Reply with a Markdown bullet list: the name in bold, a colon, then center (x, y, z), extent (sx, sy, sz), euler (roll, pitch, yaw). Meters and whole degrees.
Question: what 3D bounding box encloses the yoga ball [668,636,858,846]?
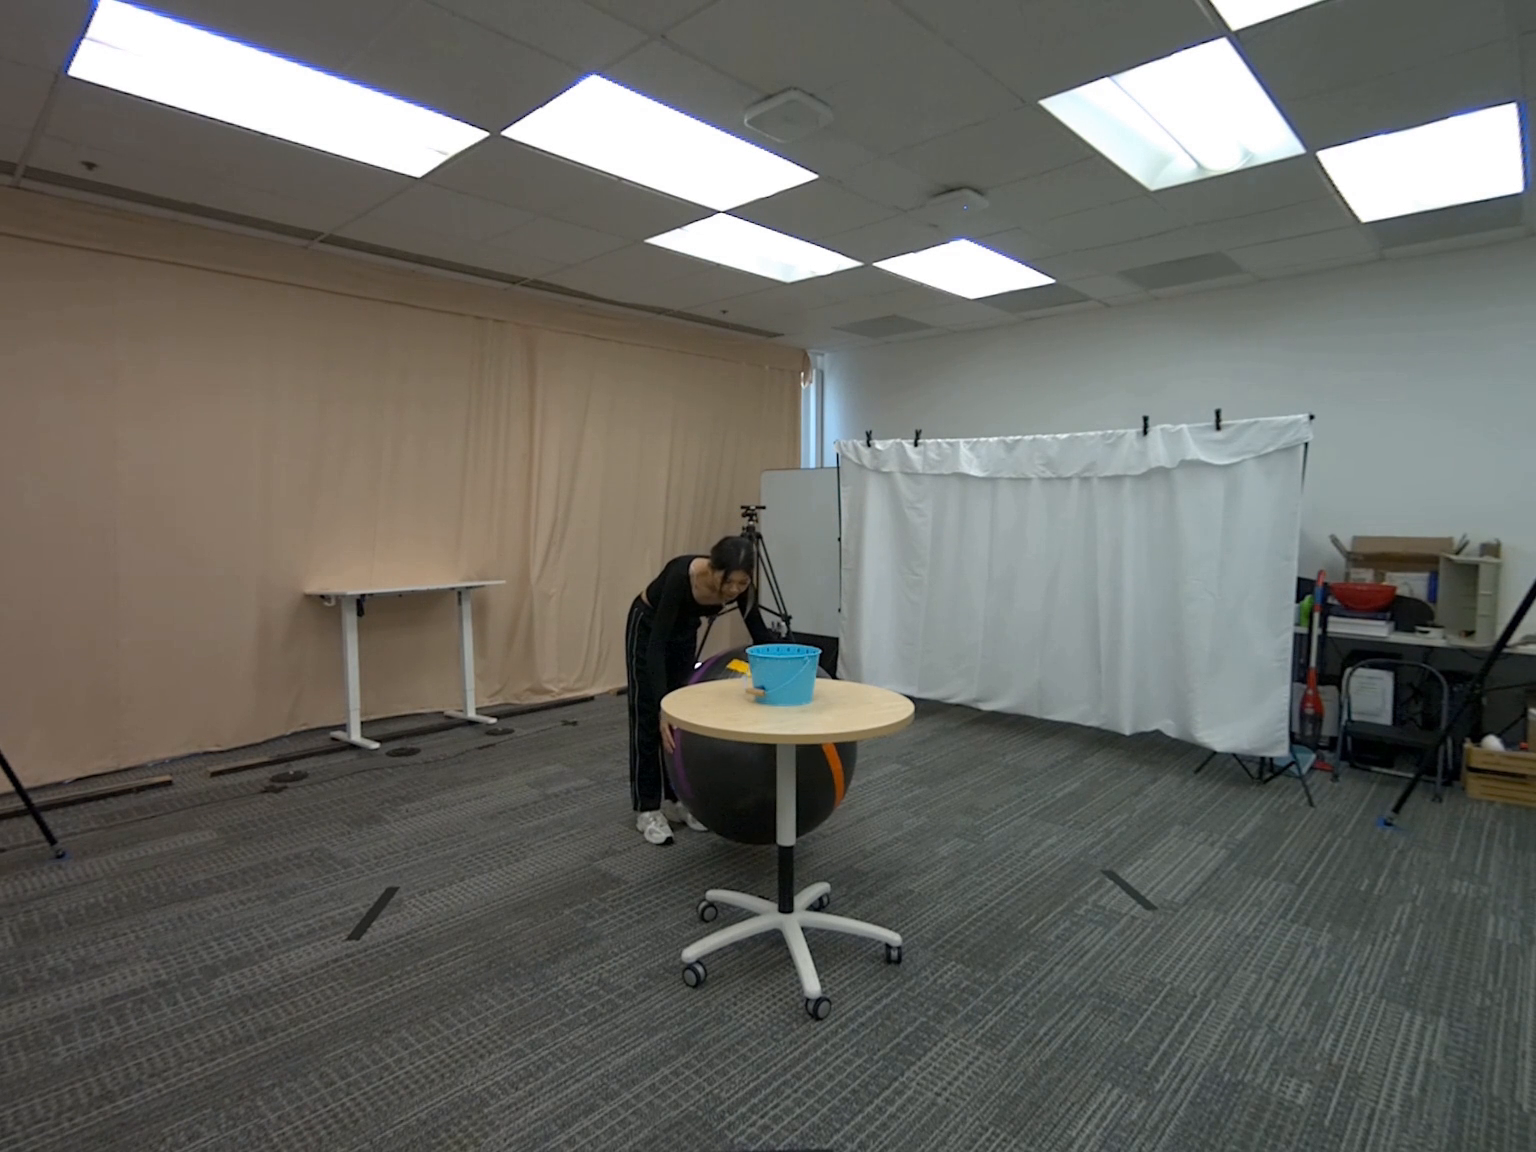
- **yoga ball**: center (-0.030, 0.656, 3.298), extent (0.757, 0.756, 0.760), euler (0, 4, -2)
